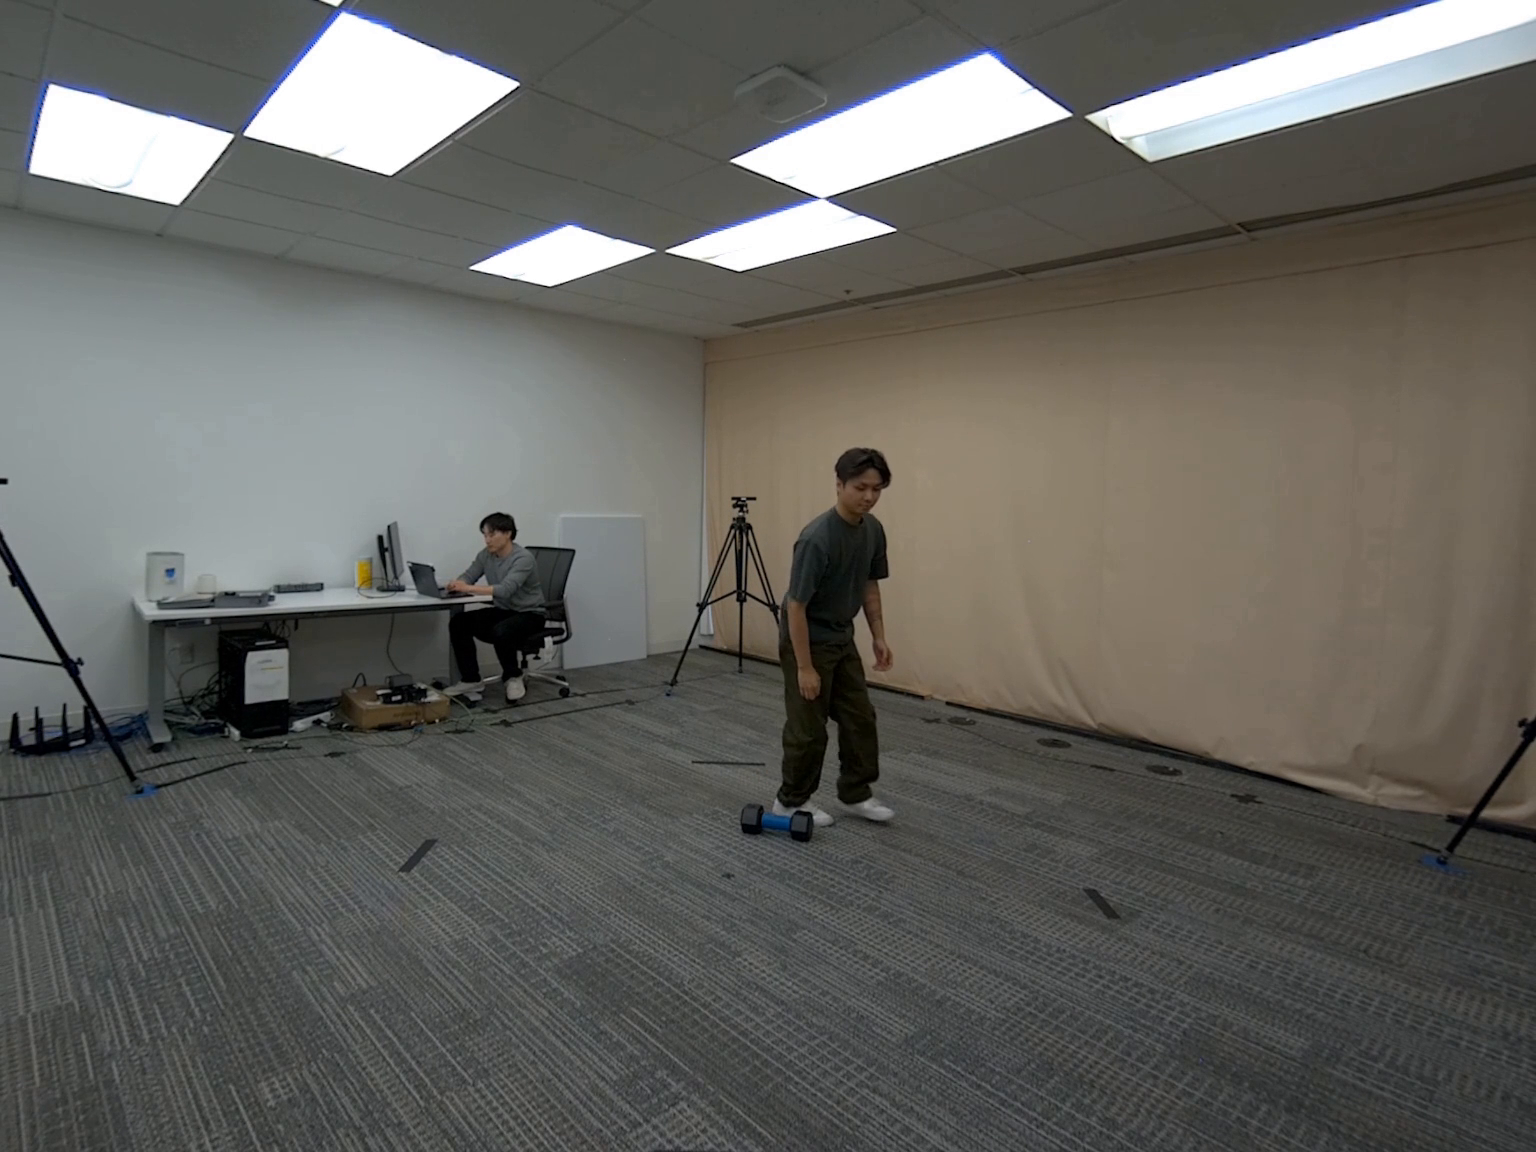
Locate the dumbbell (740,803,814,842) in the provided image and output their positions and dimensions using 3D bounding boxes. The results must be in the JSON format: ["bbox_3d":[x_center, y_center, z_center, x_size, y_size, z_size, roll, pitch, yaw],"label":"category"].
[{"bbox_3d":[0.029,1.020,3.498,0.297,0.108,0.122,2,6,17],"label":"dumbbell"}]
